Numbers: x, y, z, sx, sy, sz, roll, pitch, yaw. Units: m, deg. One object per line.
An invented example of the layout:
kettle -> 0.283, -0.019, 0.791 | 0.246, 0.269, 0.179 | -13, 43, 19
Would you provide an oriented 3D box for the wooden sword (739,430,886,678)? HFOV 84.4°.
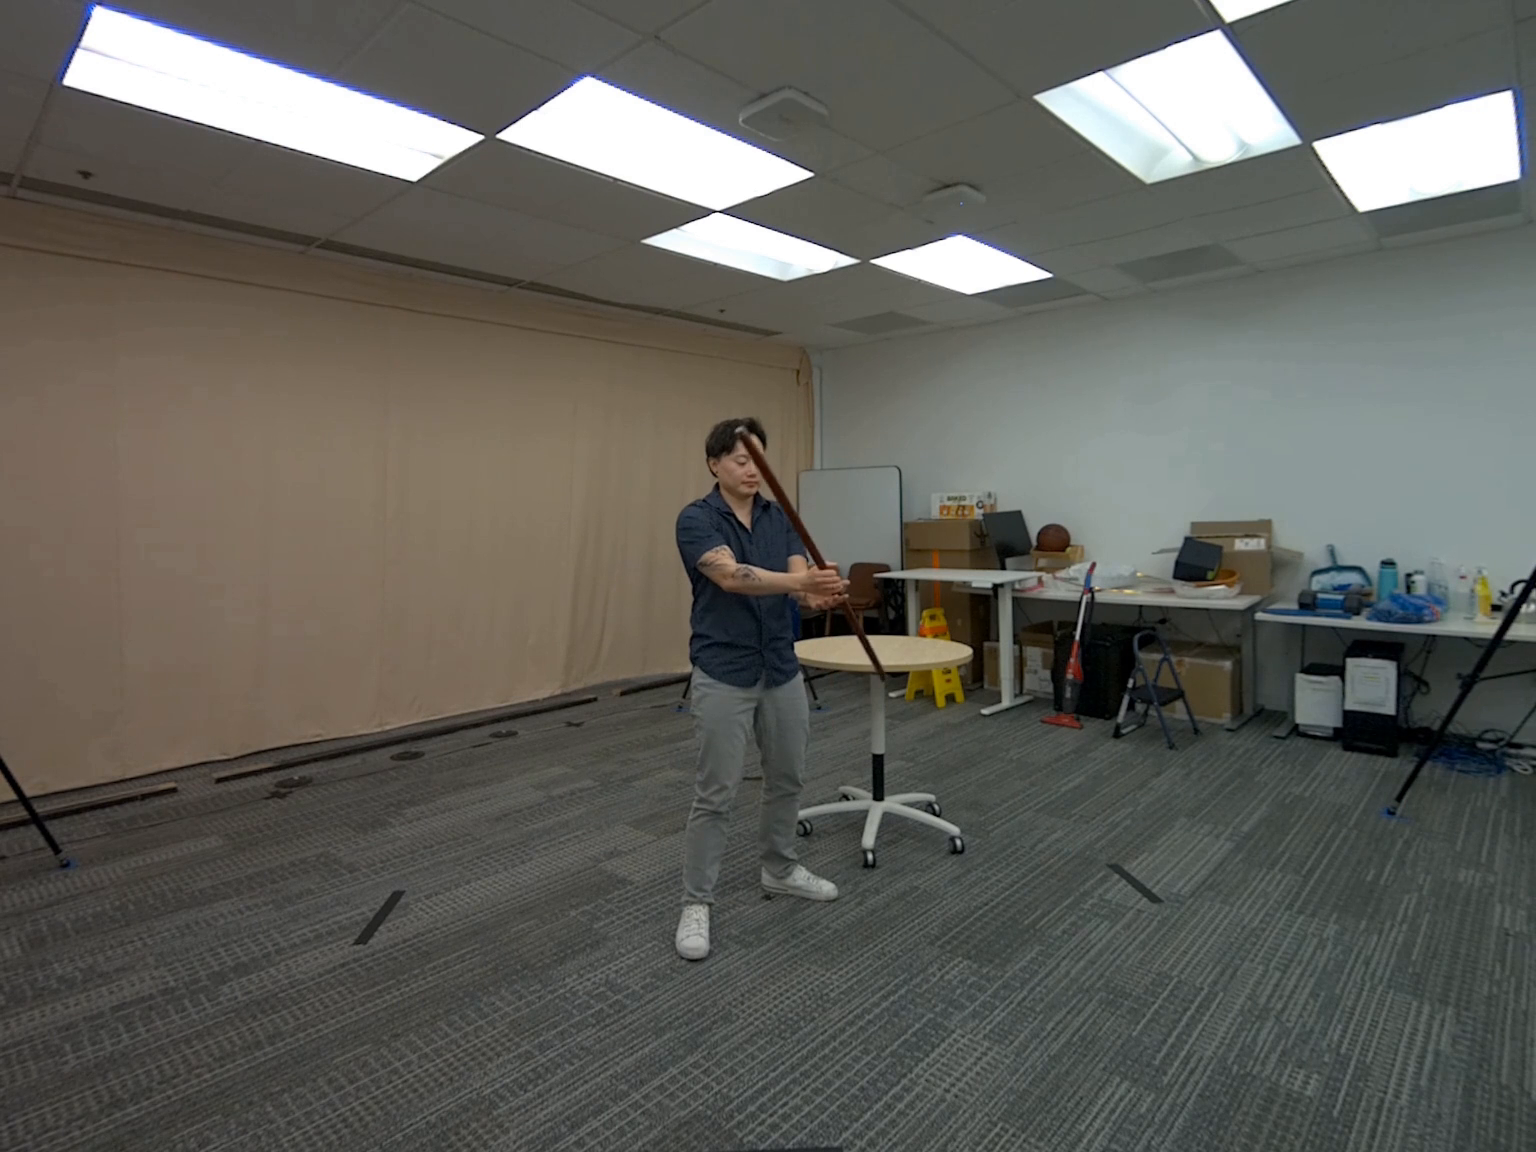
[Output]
wooden sword -> 0.168, -0.019, 2.457 | 0.024, 0.996, 0.053 | -34, 31, -5
